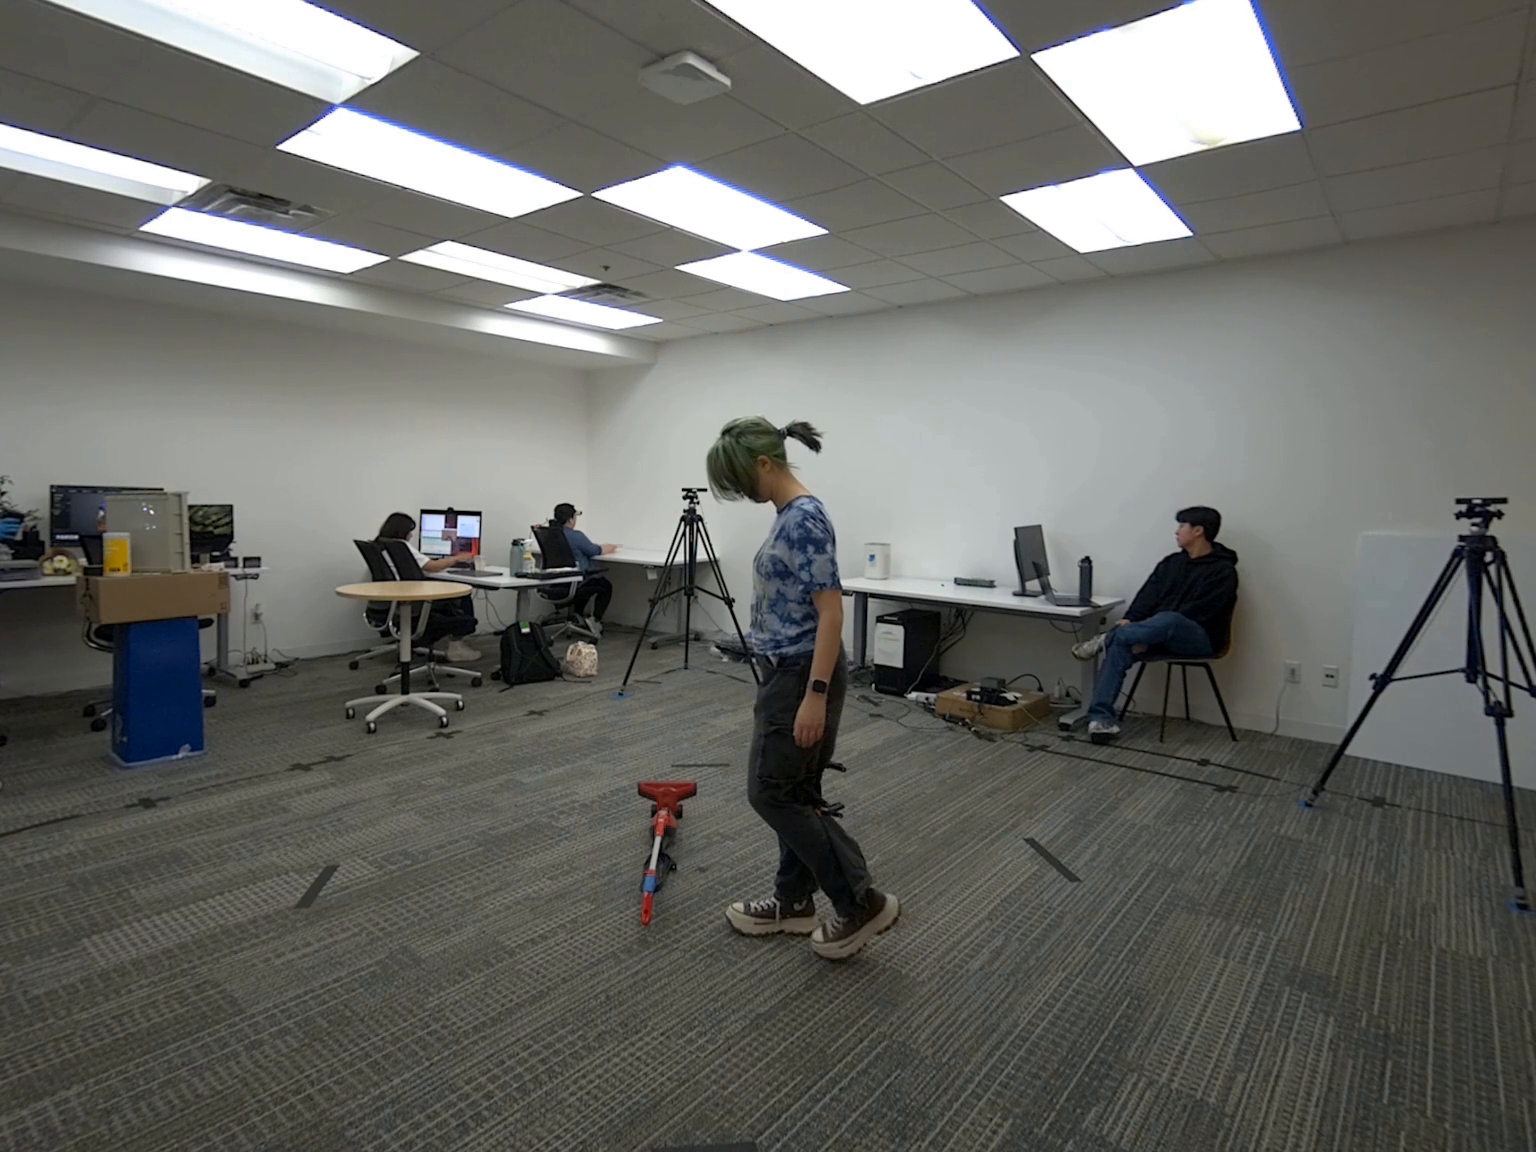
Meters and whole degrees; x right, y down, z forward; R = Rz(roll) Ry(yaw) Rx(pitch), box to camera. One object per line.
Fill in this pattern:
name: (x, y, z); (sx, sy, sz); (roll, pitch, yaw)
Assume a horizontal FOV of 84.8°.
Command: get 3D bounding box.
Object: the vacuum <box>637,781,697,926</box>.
vacuum: (-0.406, 1.001, 3.107); (0.252, 0.143, 1.057); (0, 7, -4)
